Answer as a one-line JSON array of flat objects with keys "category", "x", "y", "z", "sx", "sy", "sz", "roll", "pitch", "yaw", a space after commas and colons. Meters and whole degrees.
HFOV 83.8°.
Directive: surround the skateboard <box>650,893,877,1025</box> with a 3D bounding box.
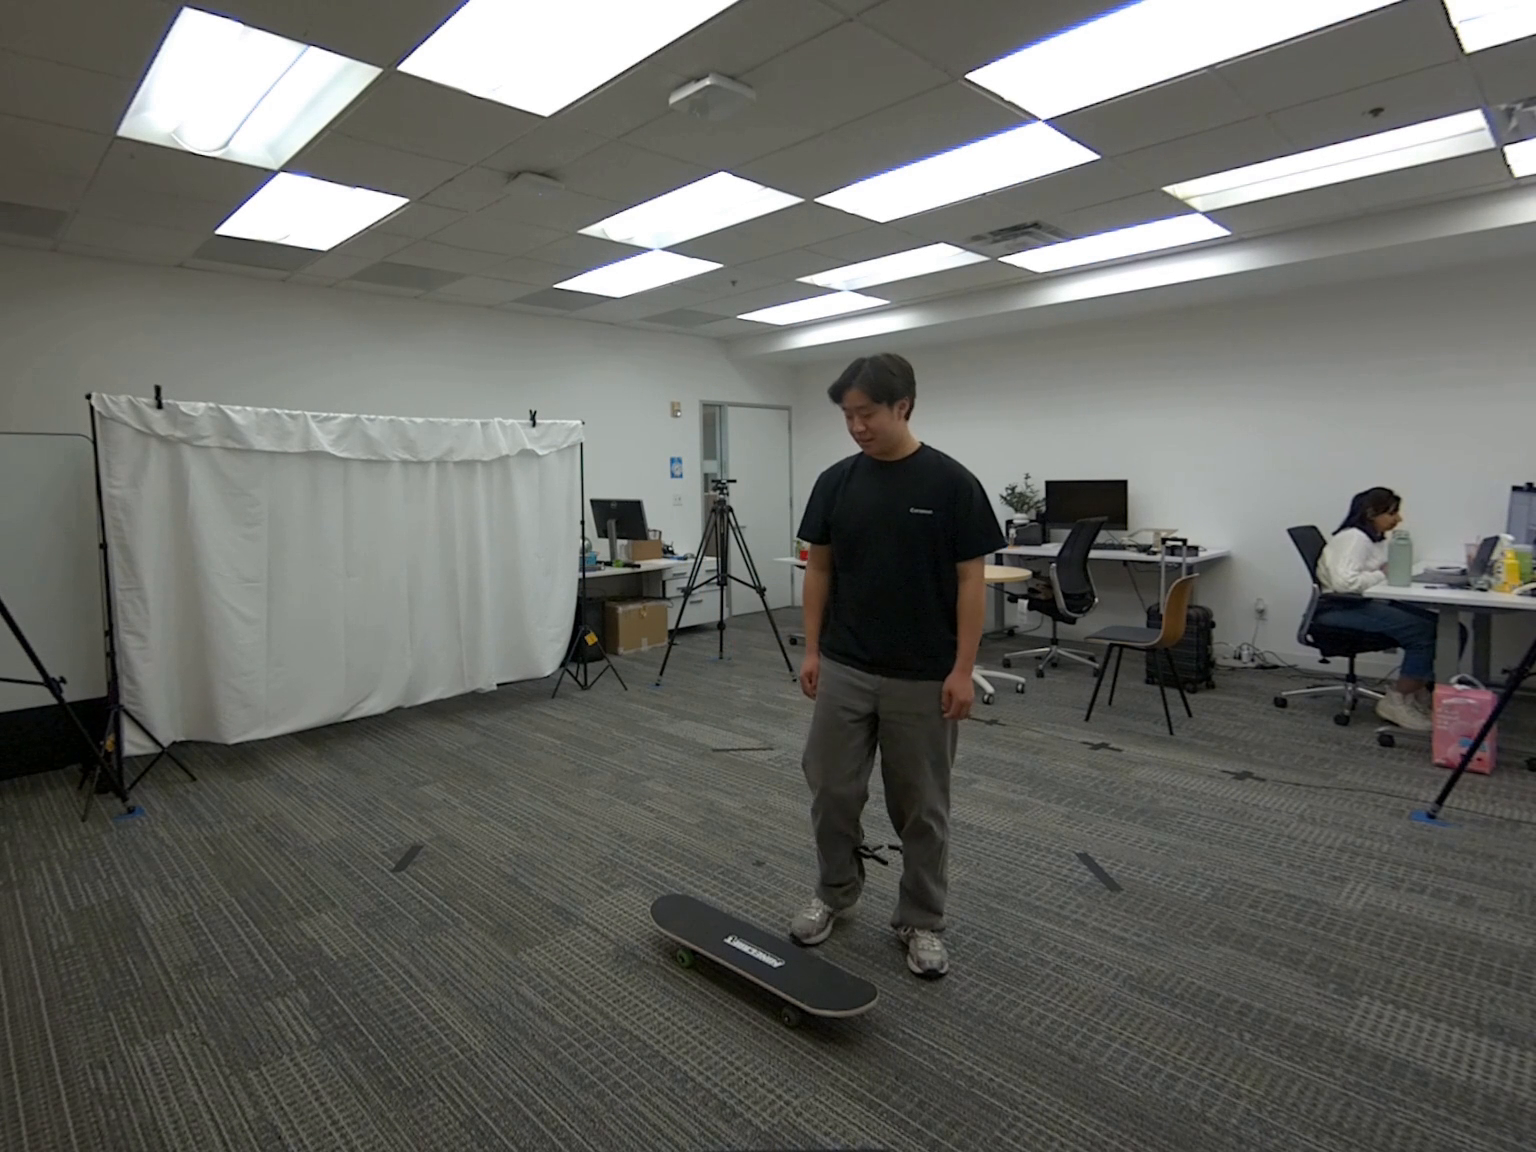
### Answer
[{"category": "skateboard", "x": -0.034, "y": 1.076, "z": 2.377, "sx": 0.810, "sy": 0.110, "sz": 0.188, "roll": 5, "pitch": 9, "yaw": 43}]
